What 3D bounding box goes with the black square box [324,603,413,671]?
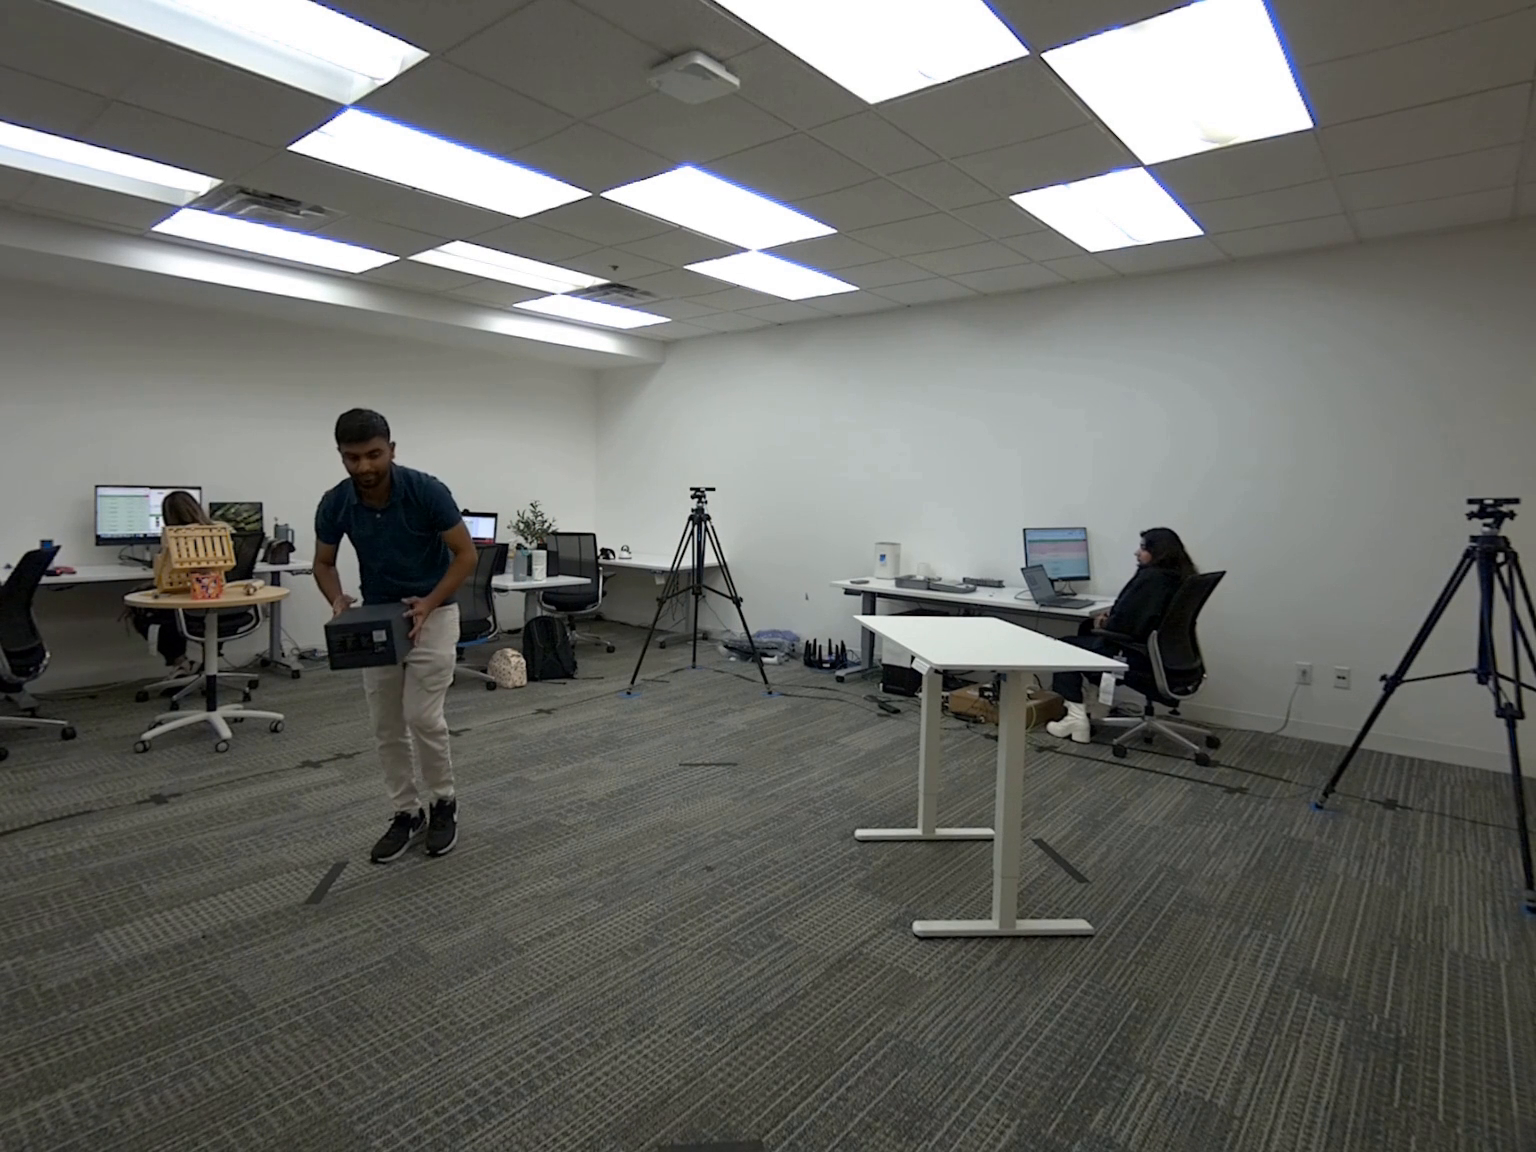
[{"bbox_3d":[-1.339,0.202,2.831,0.215,0.154,0.231,-3,10,-7],"label":"black square box"}]
